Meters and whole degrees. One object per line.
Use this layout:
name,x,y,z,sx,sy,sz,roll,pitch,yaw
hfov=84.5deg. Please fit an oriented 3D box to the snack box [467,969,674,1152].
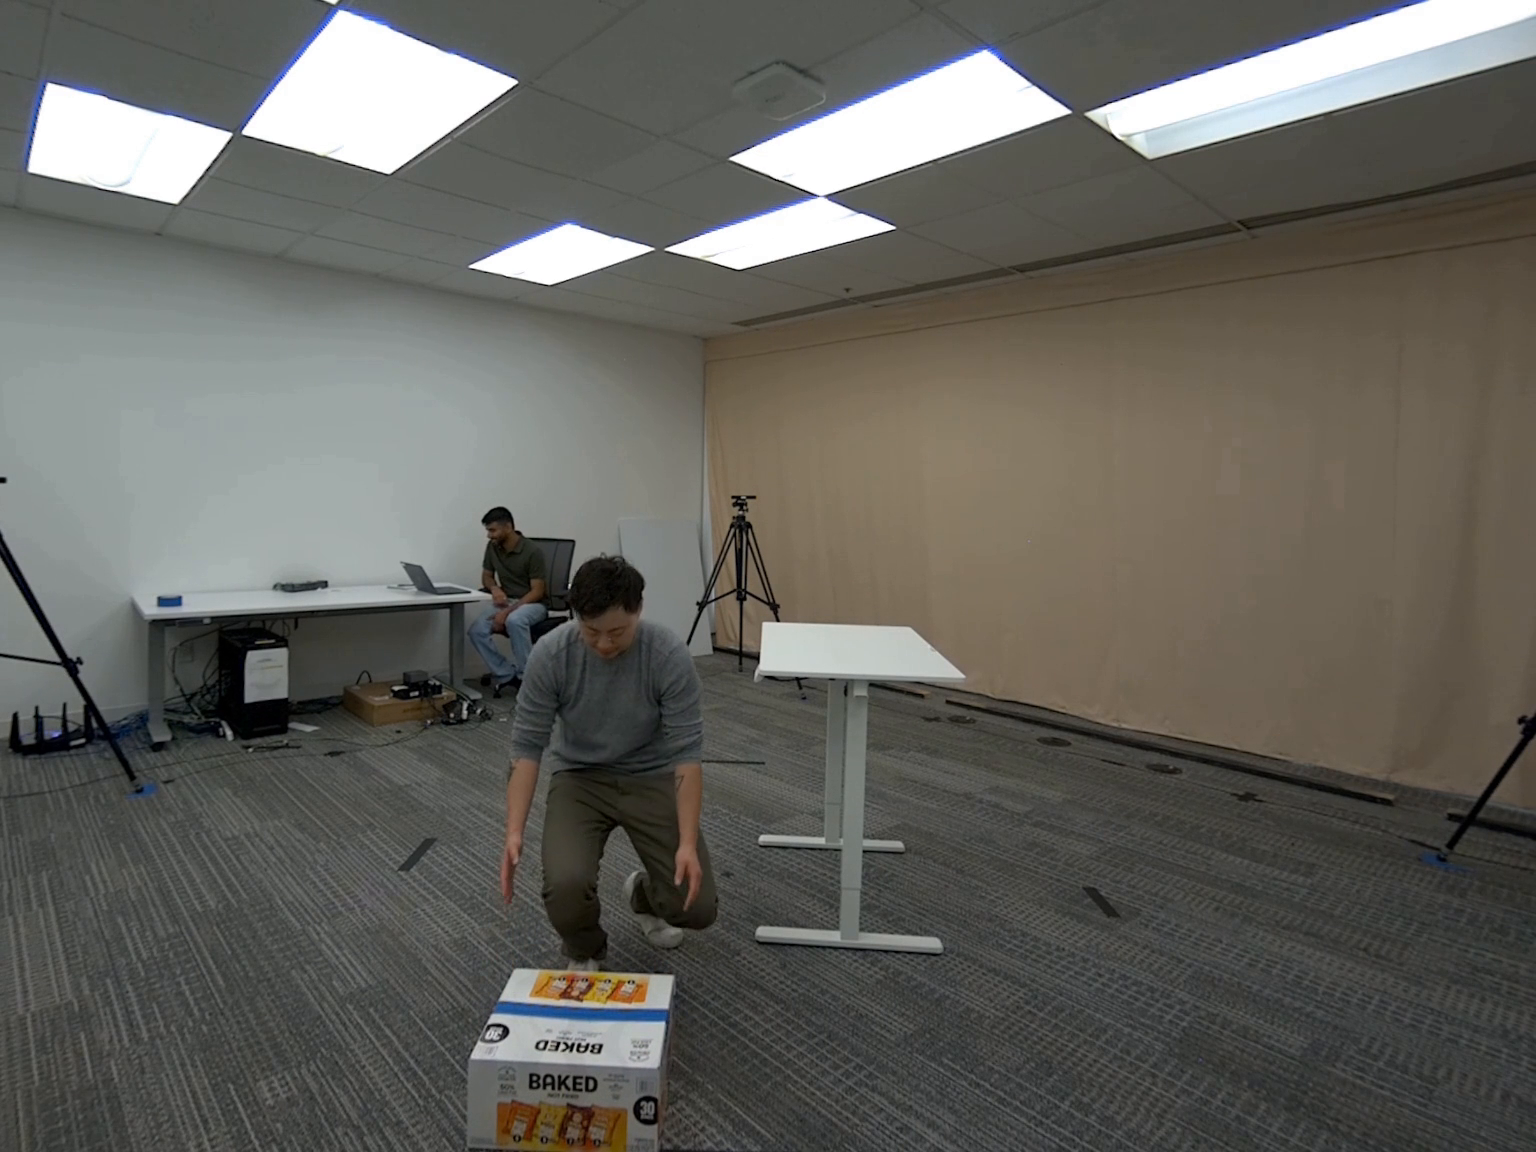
snack box,-0.445,1.110,1.920,0.405,0.205,0.341,2,5,0
